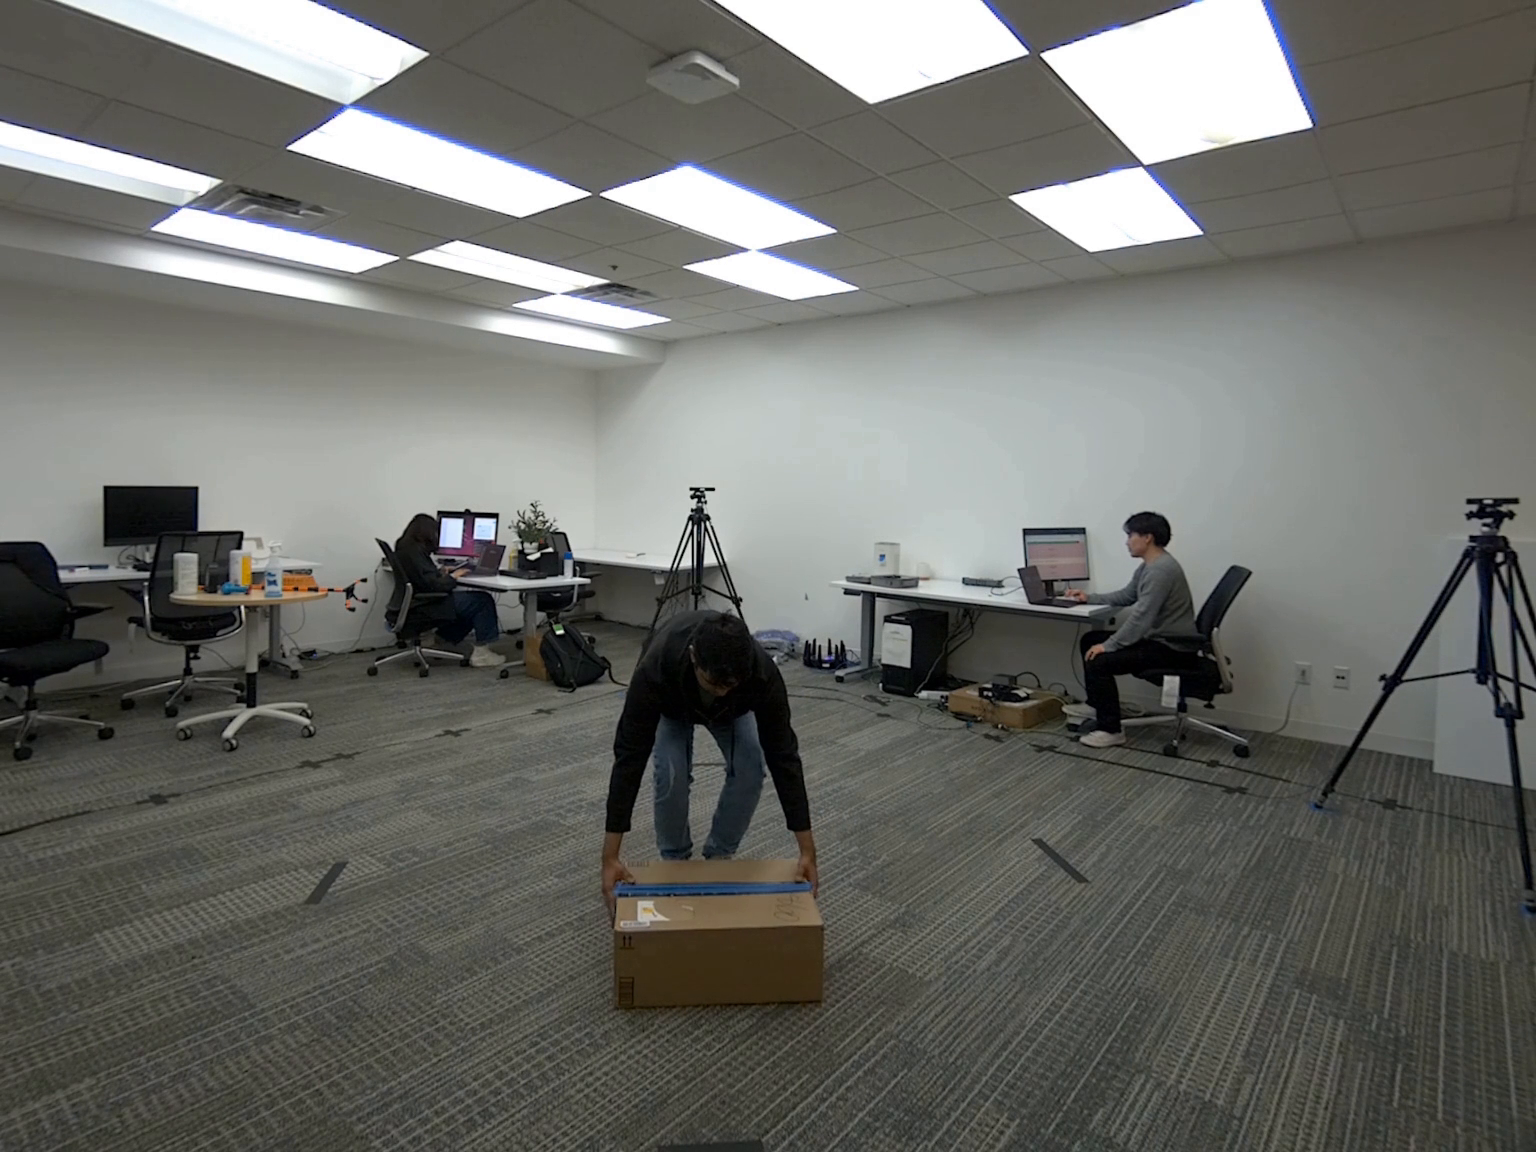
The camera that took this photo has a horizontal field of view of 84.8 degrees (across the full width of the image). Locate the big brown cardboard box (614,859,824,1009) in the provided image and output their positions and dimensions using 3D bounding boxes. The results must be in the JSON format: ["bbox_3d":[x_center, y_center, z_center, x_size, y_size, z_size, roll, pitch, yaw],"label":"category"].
[{"bbox_3d":[-0.164,1.014,2.475,0.585,0.232,0.422,1,5,-7],"label":"big brown cardboard box"}]
